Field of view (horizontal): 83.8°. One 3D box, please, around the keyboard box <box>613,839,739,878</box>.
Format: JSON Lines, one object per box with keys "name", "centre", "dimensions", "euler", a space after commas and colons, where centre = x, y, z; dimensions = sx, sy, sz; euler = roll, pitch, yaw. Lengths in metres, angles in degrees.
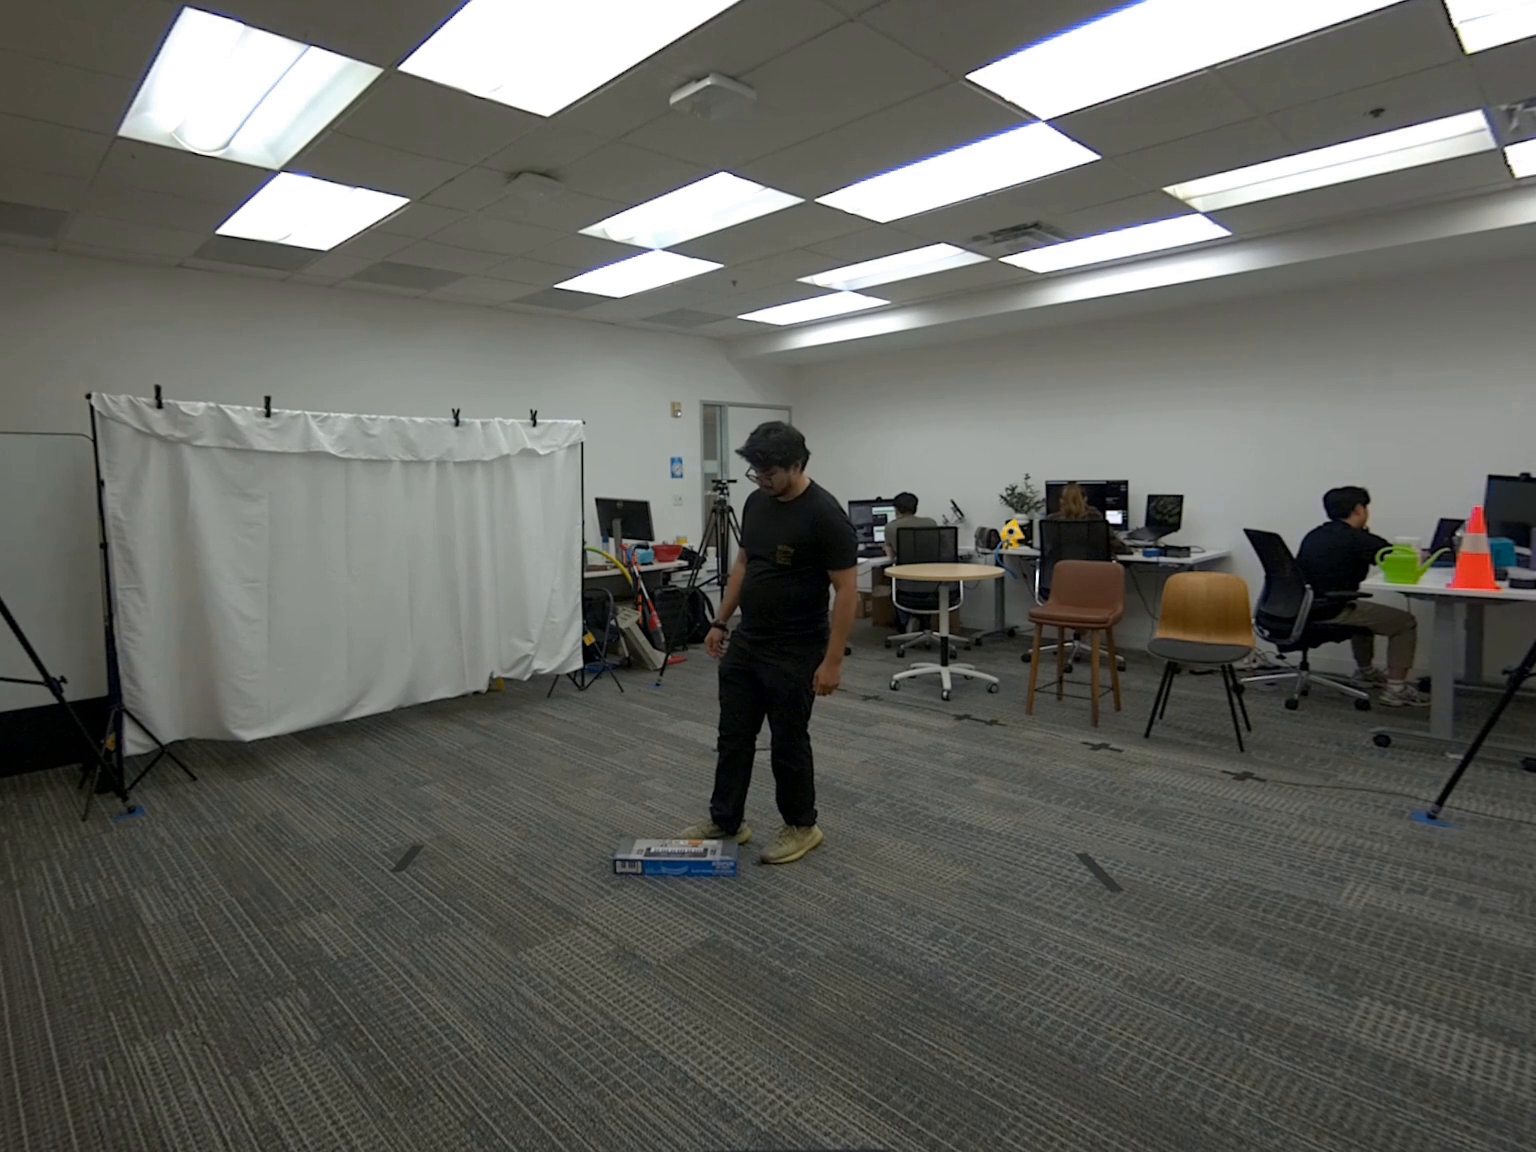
{"name": "keyboard box", "centre": [-0.326, 1.021, 3.113], "dimensions": [0.438, 0.059, 0.176], "euler": [-1, 6, 4]}
